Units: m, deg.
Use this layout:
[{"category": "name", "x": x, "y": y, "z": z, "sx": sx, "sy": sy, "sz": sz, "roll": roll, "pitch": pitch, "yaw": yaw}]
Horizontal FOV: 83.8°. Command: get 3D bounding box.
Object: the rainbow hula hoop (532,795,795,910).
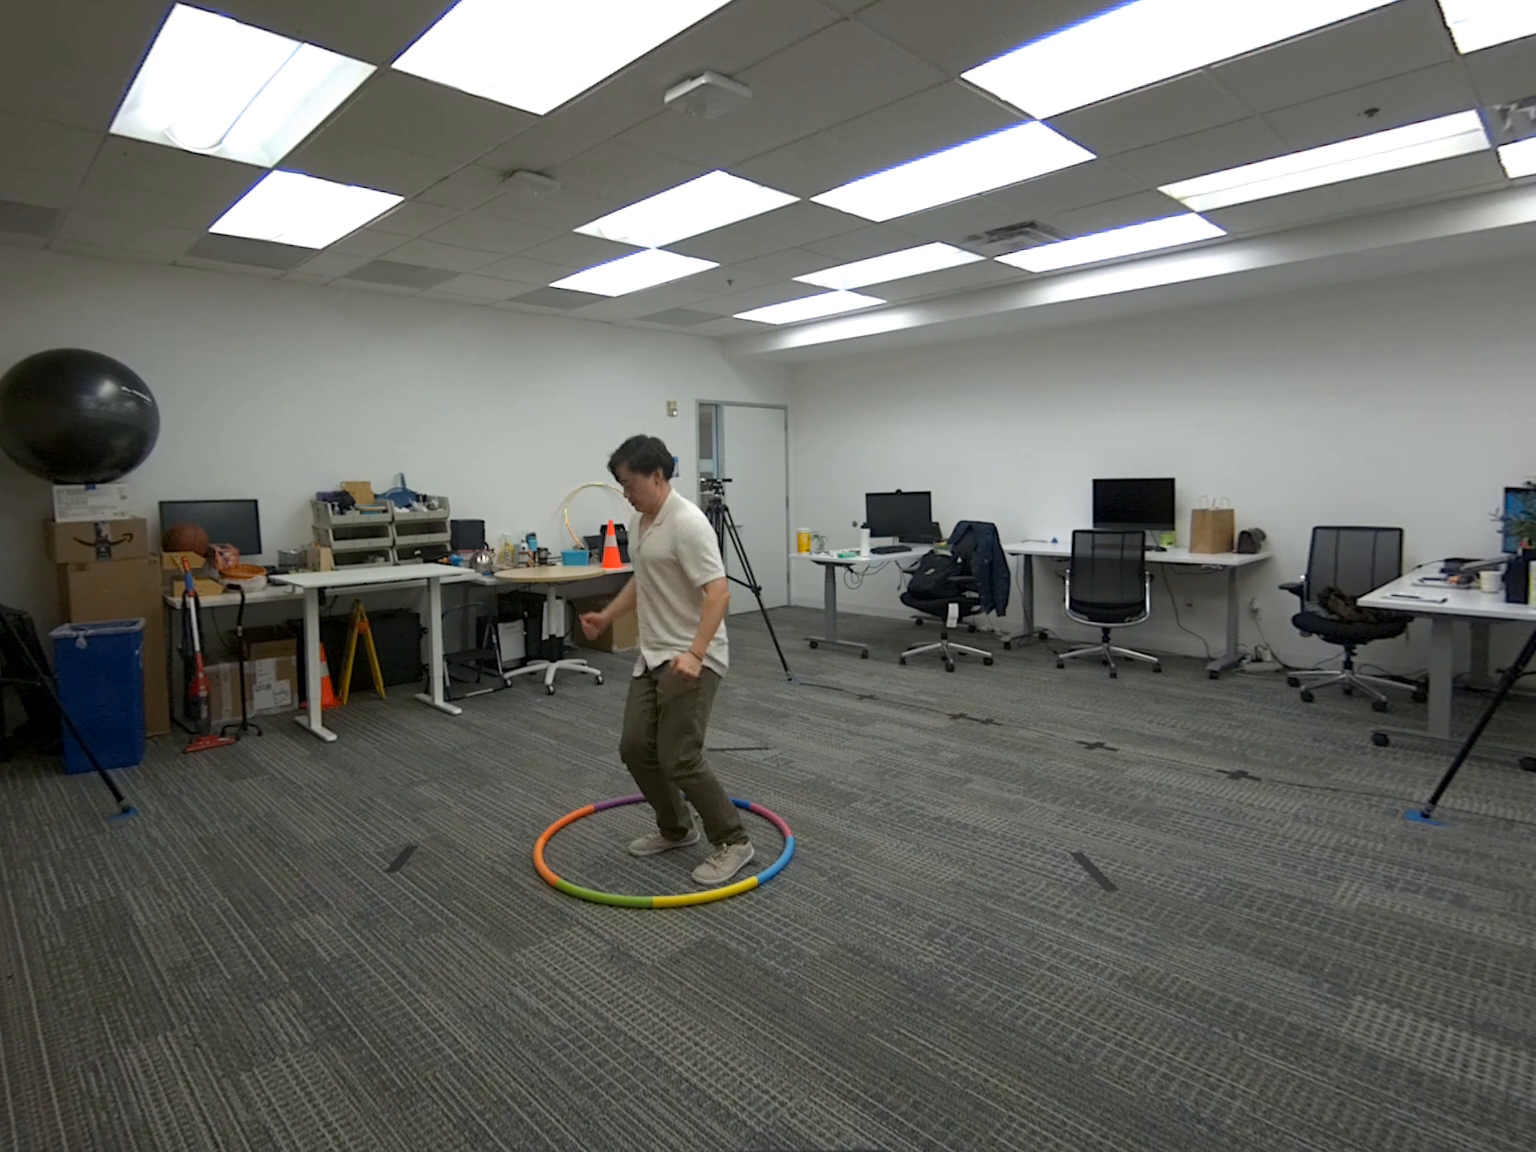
[{"category": "rainbow hula hoop", "x": -0.392, "y": 1.001, "z": 3.269, "sx": 0.978, "sy": 0.035, "sz": 0.984, "roll": -1, "pitch": 7, "yaw": -2}]
